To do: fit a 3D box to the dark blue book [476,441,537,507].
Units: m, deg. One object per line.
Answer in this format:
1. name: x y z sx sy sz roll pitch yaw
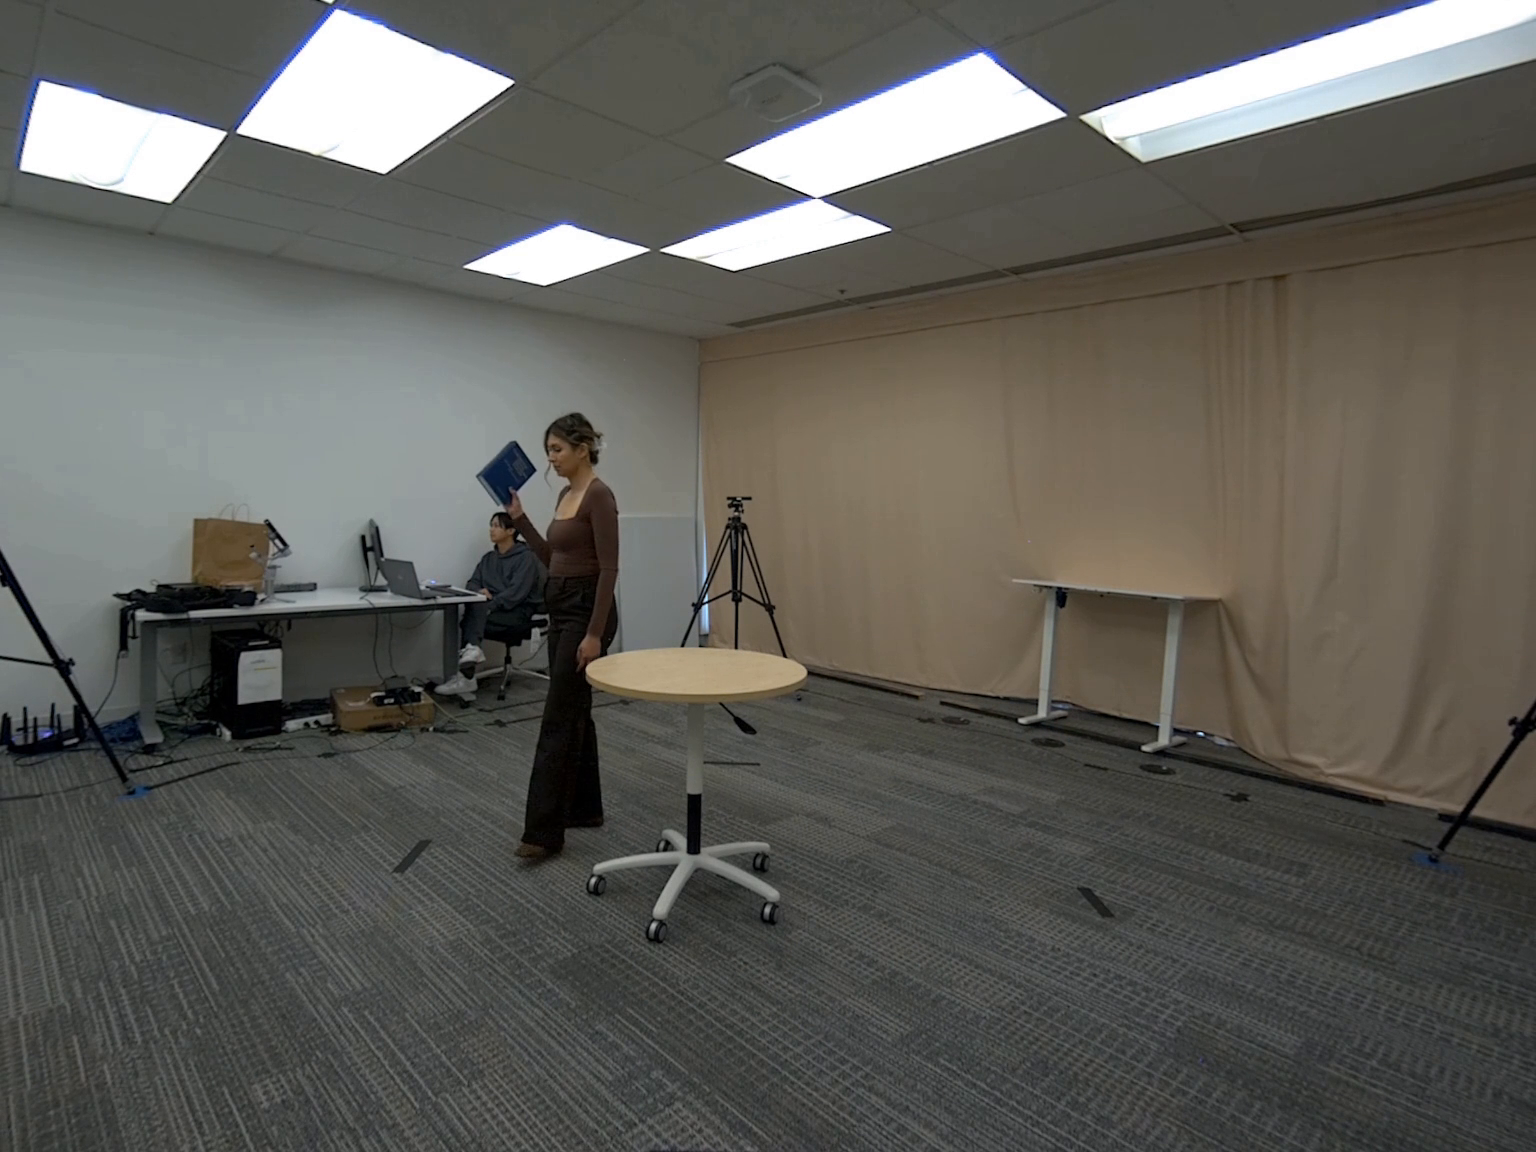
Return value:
1. dark blue book: -1.097 -0.434 3.544 0.046 0.159 0.246 -5 39 36
